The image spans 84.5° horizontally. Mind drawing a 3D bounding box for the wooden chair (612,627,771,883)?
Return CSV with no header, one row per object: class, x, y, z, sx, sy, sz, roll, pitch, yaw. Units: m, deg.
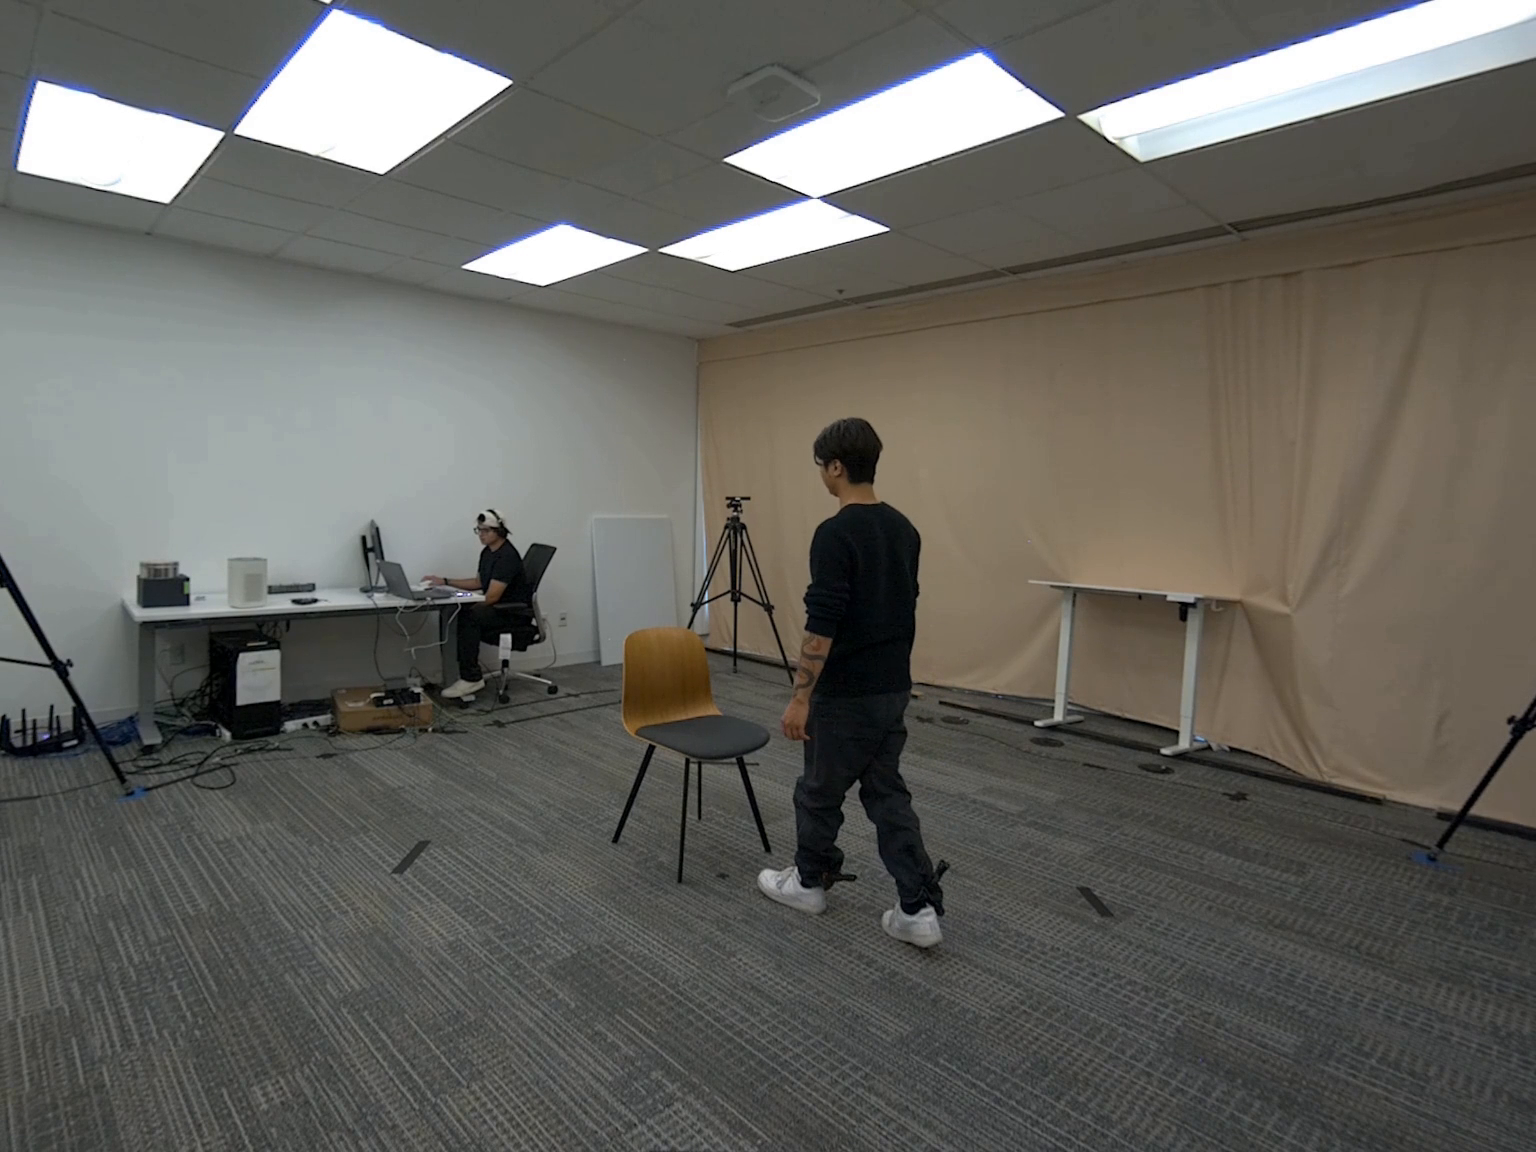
wooden chair,-0.296,0.657,3.313,0.467,0.878,0.535,-1,0,-42
